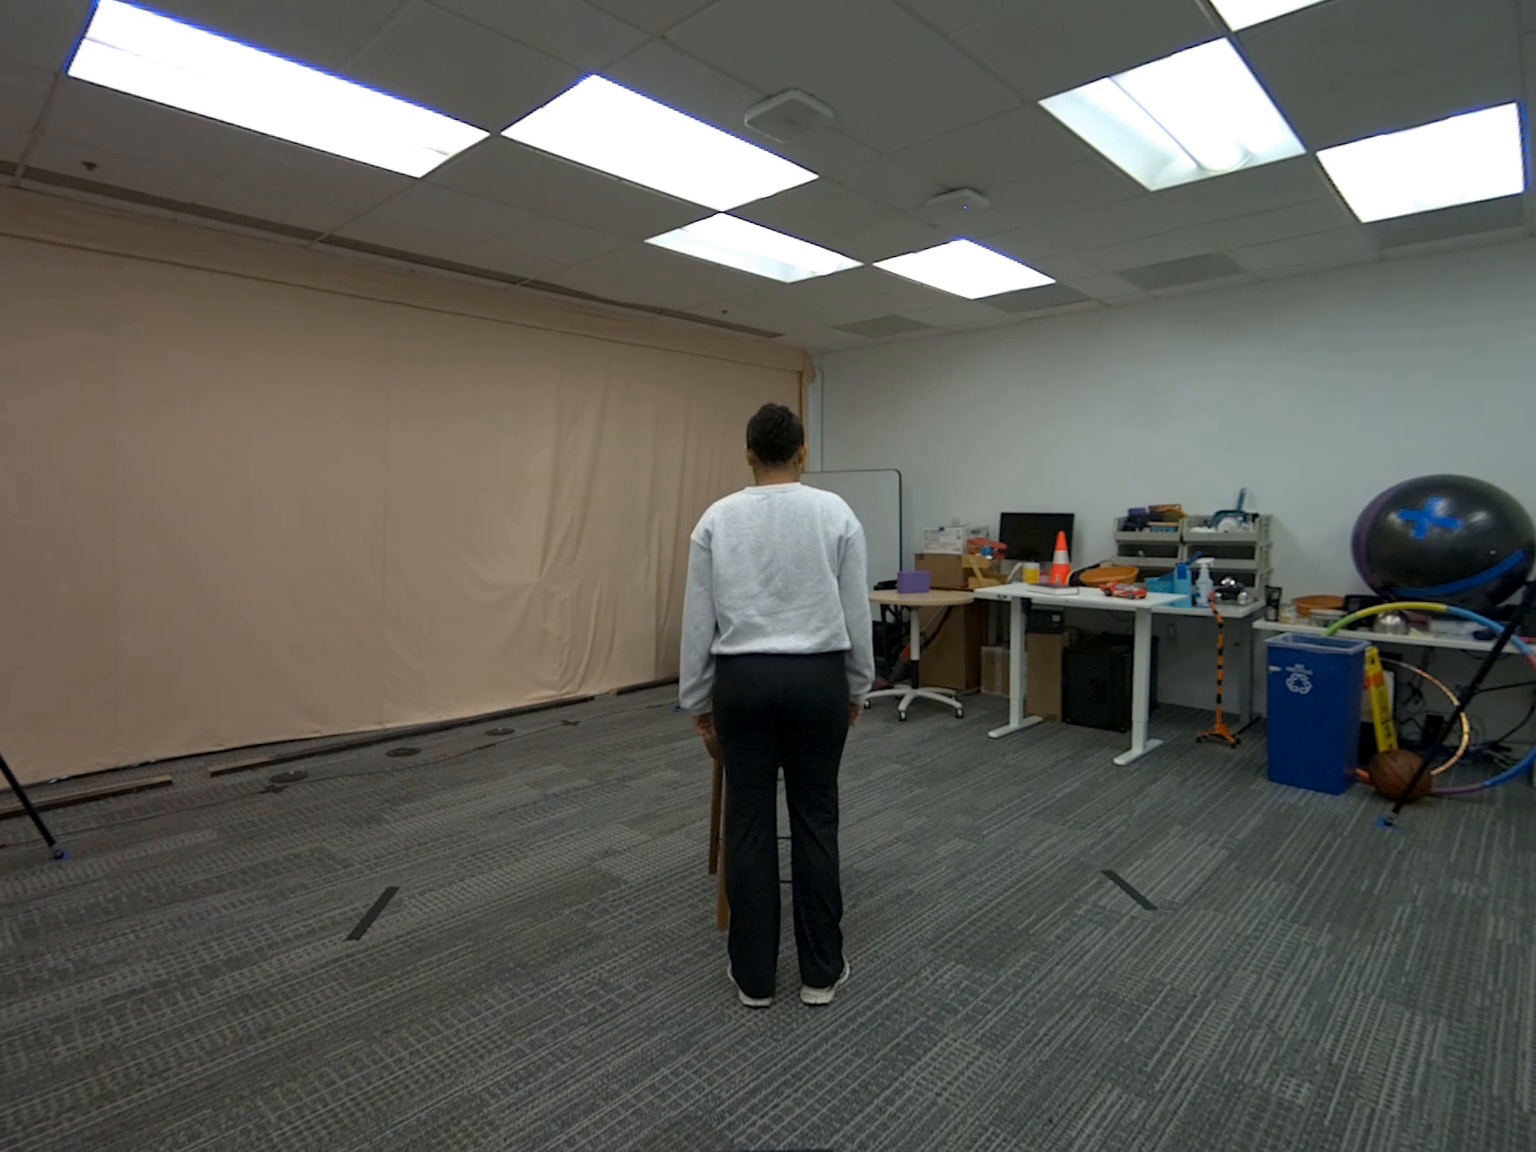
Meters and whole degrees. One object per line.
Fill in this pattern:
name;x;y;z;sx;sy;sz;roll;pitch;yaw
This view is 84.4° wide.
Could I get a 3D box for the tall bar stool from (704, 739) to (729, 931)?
tall bar stool;-0.001;0.712;2.949;0.455;0.886;0.471;0;6;-3
